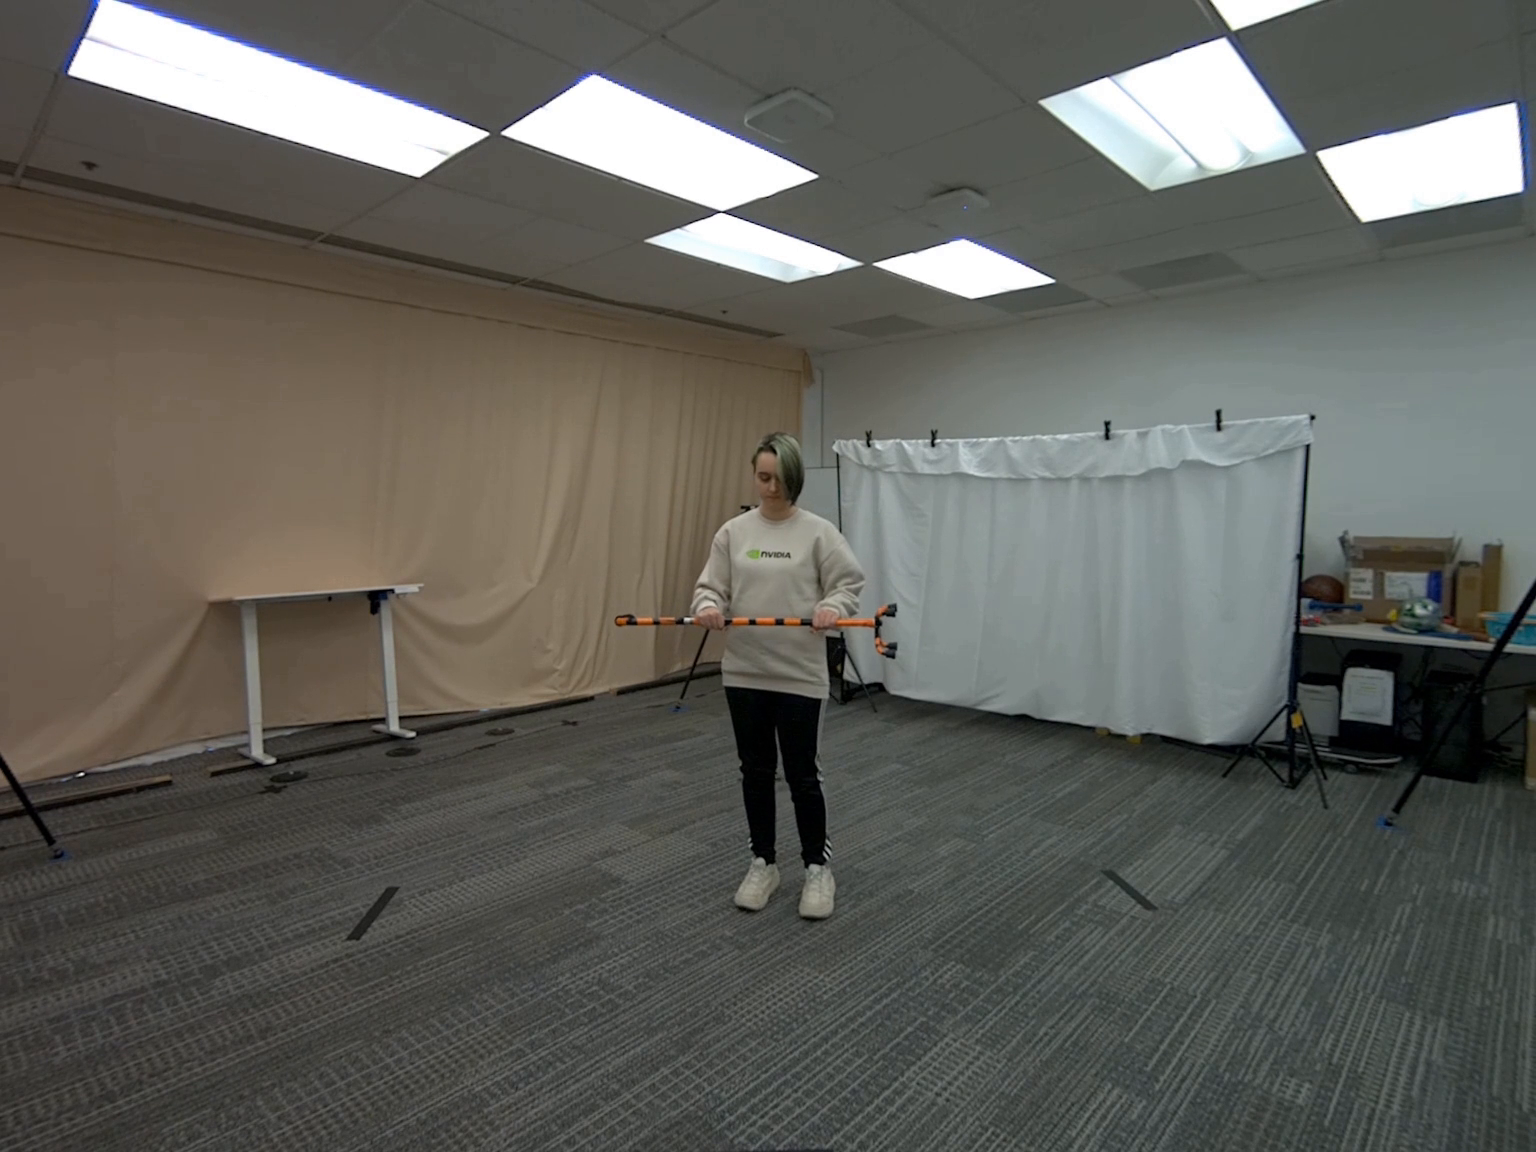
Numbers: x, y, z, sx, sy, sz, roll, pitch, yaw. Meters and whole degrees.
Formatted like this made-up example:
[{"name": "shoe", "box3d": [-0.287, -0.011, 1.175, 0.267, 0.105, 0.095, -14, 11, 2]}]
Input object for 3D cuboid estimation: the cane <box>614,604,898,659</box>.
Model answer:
[{"name": "cane", "box3d": [-0.049, 0.163, 2.657, 0.919, 0.151, 0.204, 1, 3, 11]}]
